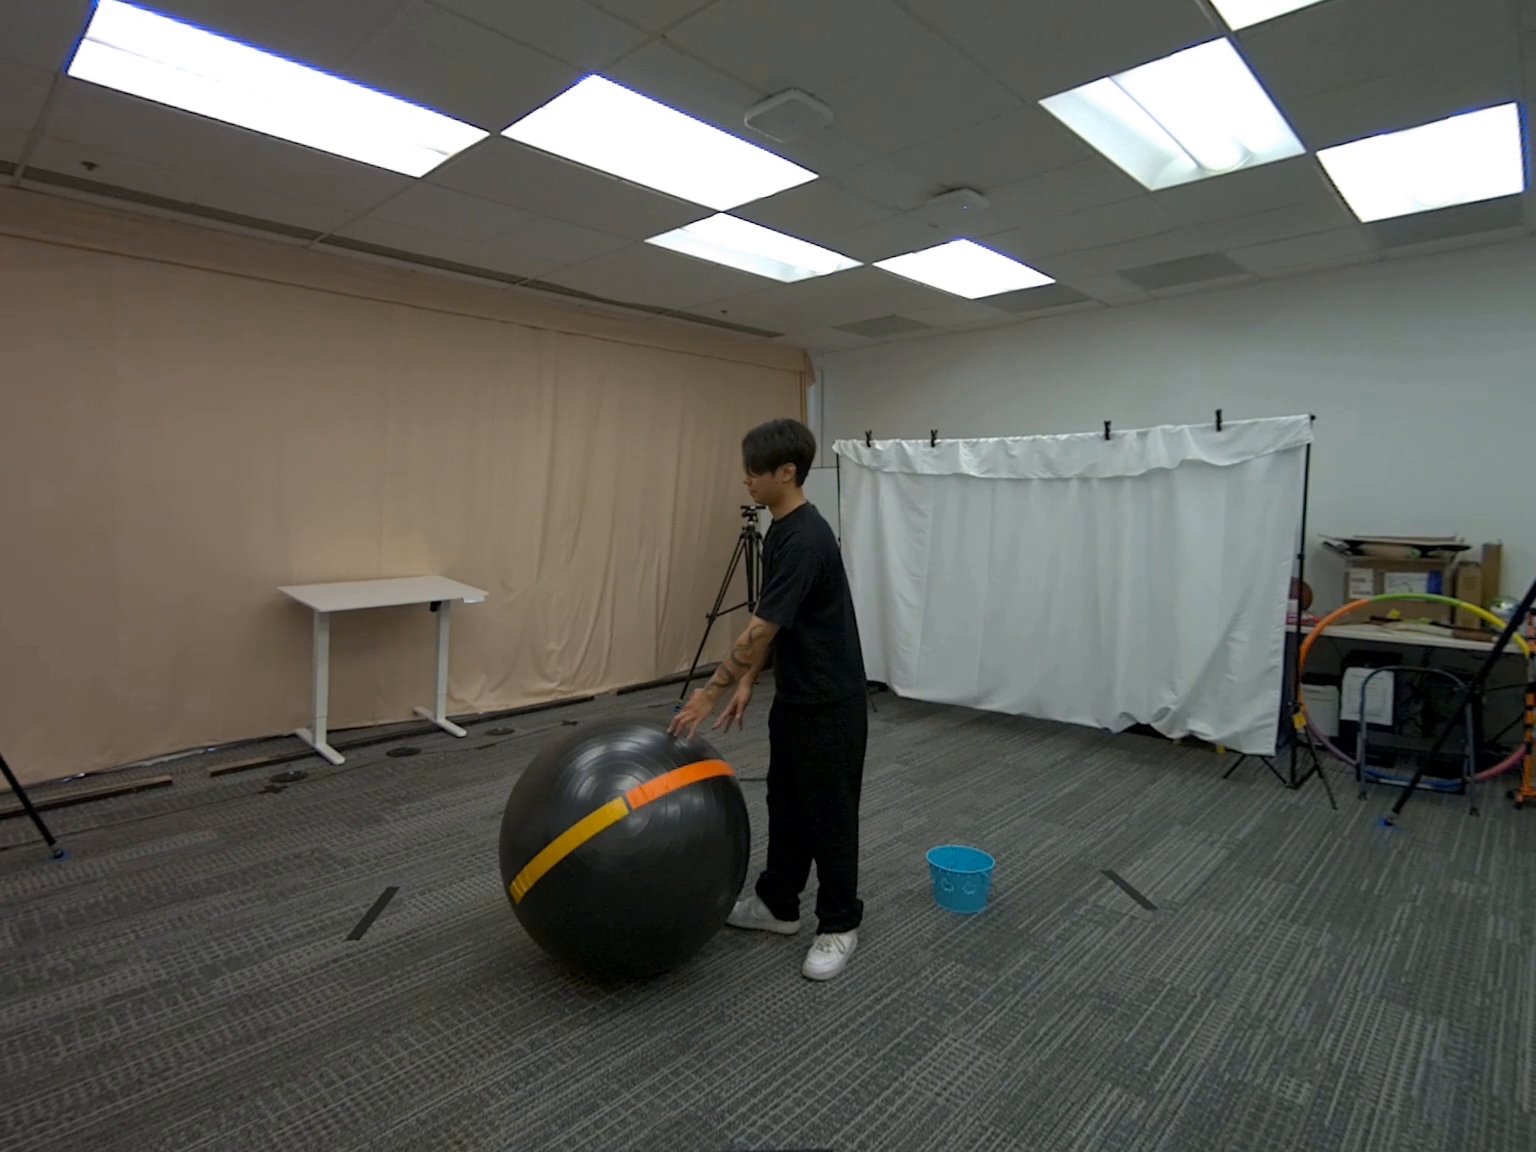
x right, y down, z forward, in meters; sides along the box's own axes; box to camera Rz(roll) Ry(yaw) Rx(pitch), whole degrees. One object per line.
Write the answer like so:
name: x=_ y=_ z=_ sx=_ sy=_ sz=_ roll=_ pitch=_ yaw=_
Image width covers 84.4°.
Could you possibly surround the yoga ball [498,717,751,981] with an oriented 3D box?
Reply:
yoga ball: x=-0.441 y=0.816 z=2.575 sx=0.757 sy=0.756 sz=0.760 roll=0 pitch=4 yaw=-2
